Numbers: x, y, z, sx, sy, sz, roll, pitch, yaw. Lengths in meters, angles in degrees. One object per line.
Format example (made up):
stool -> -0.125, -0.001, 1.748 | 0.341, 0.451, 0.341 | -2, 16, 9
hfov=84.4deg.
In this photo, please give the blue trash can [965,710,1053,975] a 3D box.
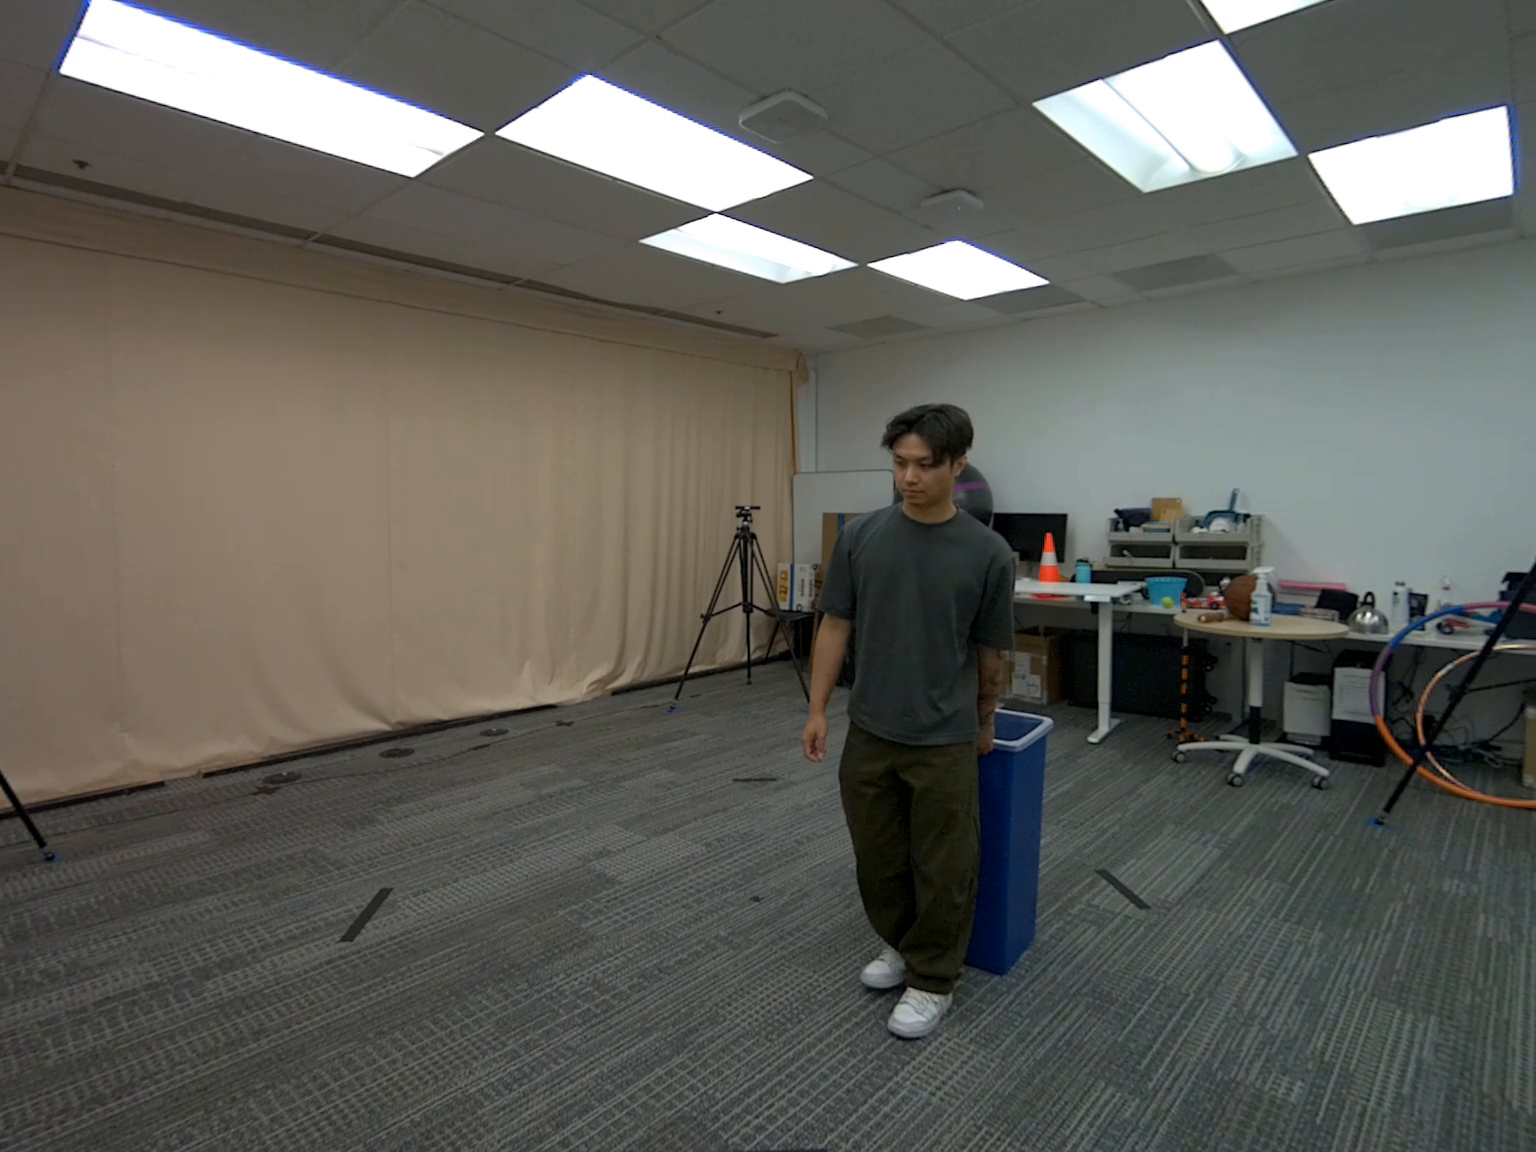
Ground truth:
blue trash can -> 0.677, 0.809, 2.665 | 0.386, 0.712, 0.367 | 2, 4, 36
